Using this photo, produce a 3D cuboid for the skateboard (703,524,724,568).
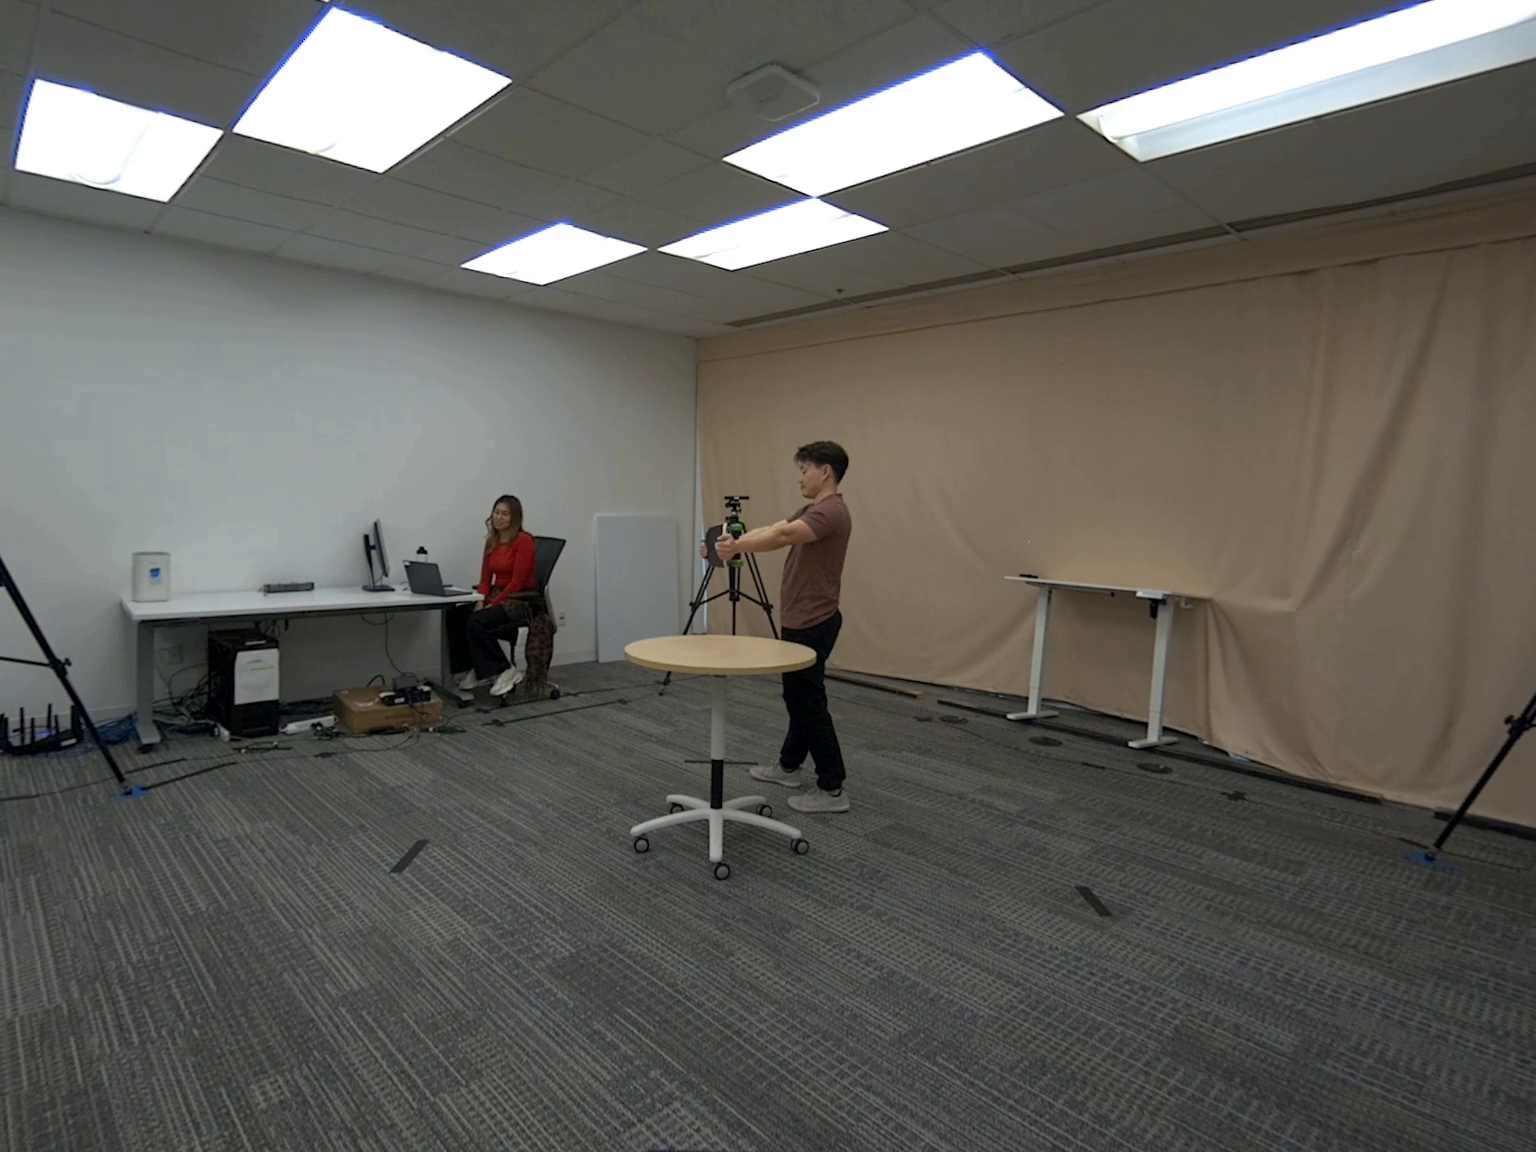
[{"bbox_3d":[-0.191,-0.138,3.801,0.109,0.193,0.792,1,1,-11],"label":"skateboard"}]
